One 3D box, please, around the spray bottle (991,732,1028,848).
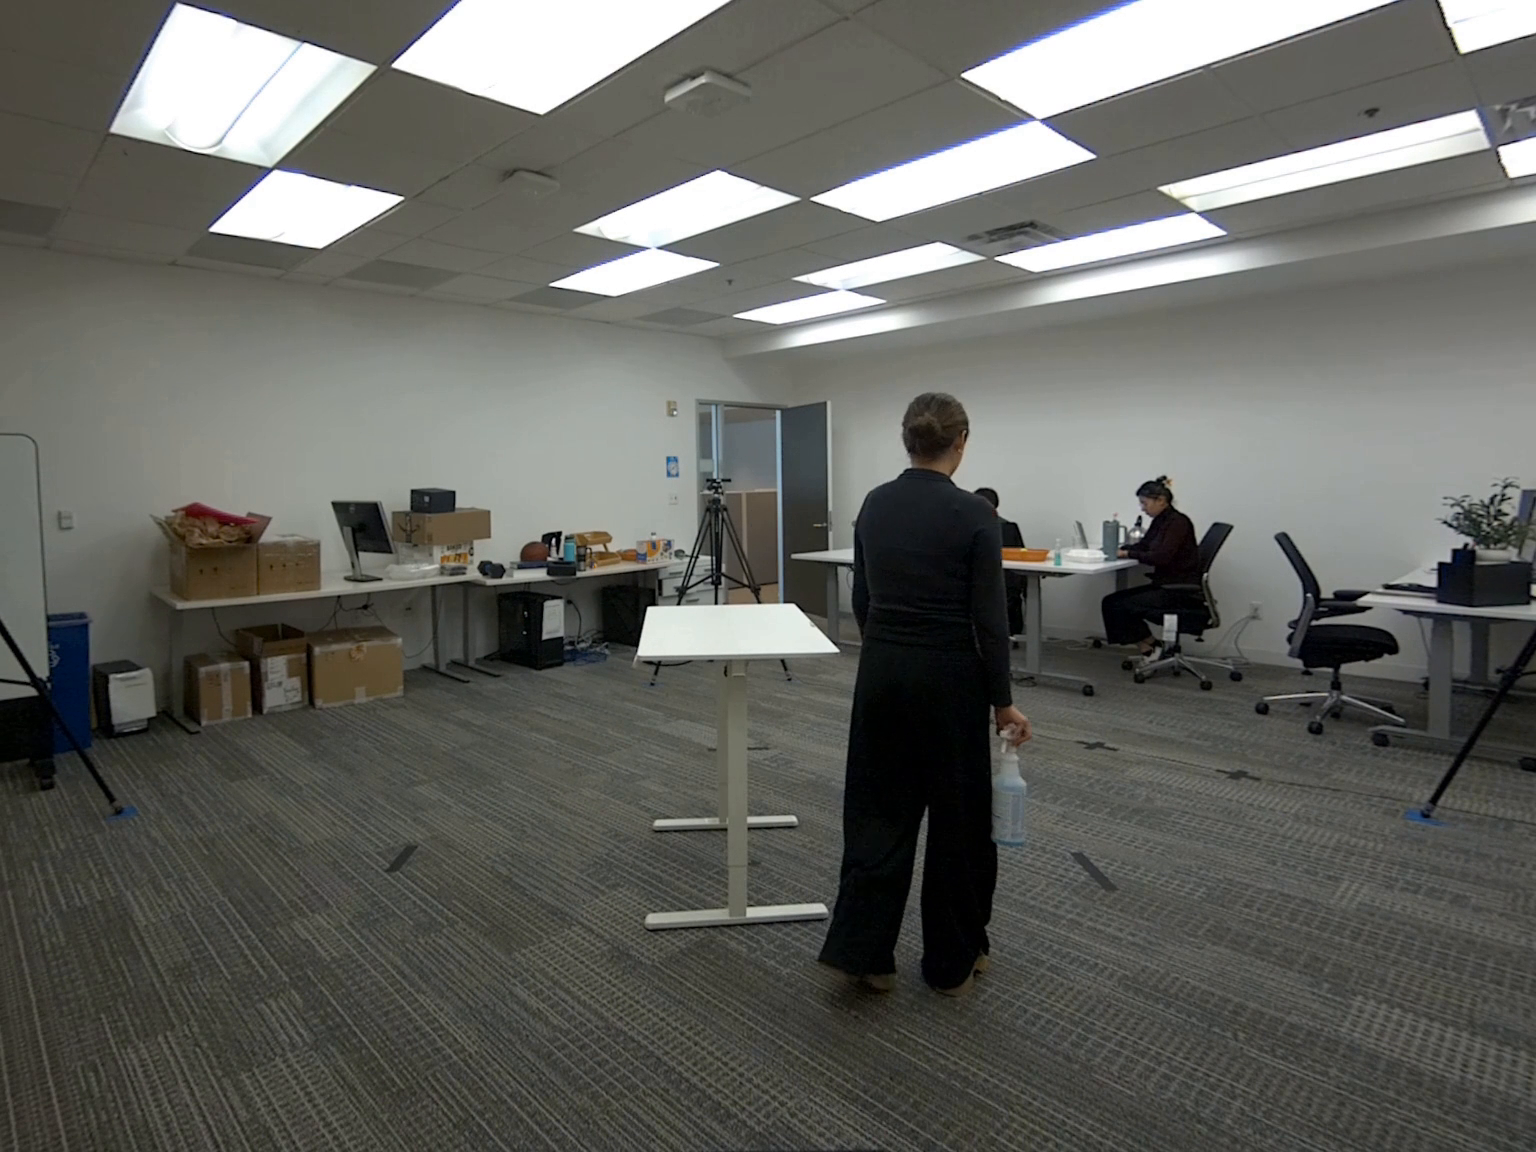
[{"bbox_3d":[0.629,0.547,2.242,0.088,0.297,0.089,-1,1,-26],"label":"spray bottle"}]
